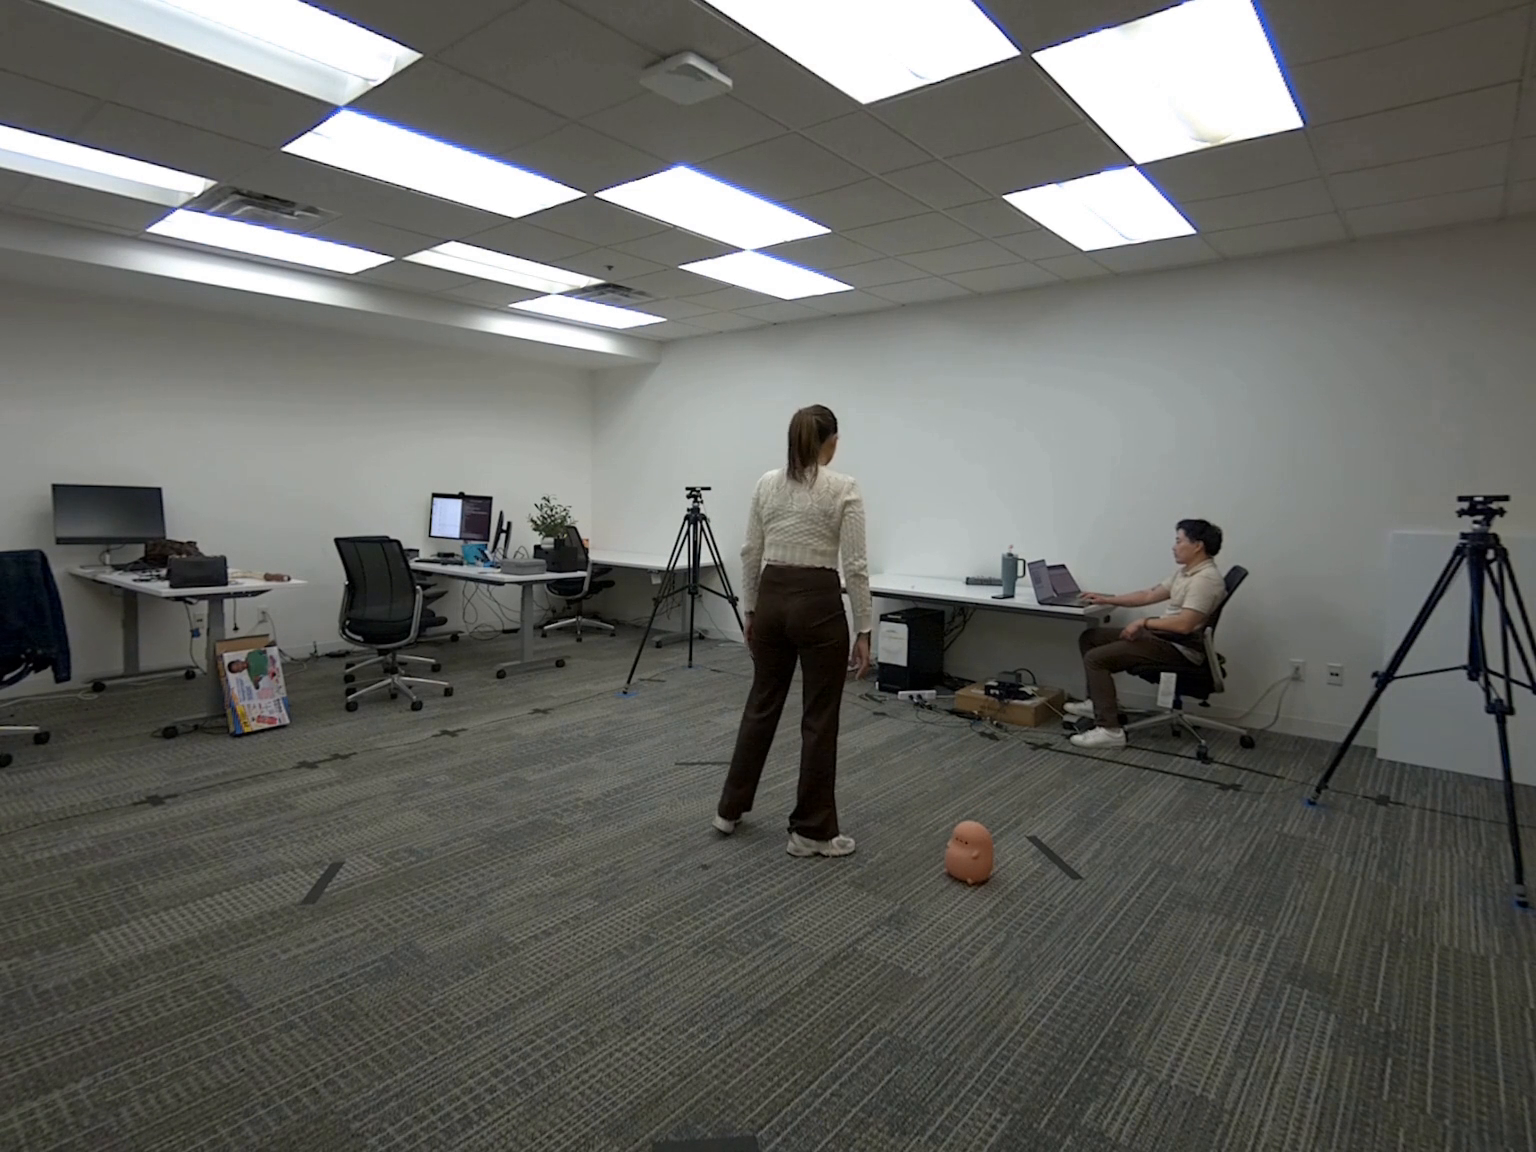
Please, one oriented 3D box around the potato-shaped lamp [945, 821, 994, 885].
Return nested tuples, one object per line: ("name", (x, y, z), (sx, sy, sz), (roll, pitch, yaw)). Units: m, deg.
("potato-shaped lamp", (0.726, 0.988, 3.089), (0.166, 0.197, 0.170), (1, 4, -37))
